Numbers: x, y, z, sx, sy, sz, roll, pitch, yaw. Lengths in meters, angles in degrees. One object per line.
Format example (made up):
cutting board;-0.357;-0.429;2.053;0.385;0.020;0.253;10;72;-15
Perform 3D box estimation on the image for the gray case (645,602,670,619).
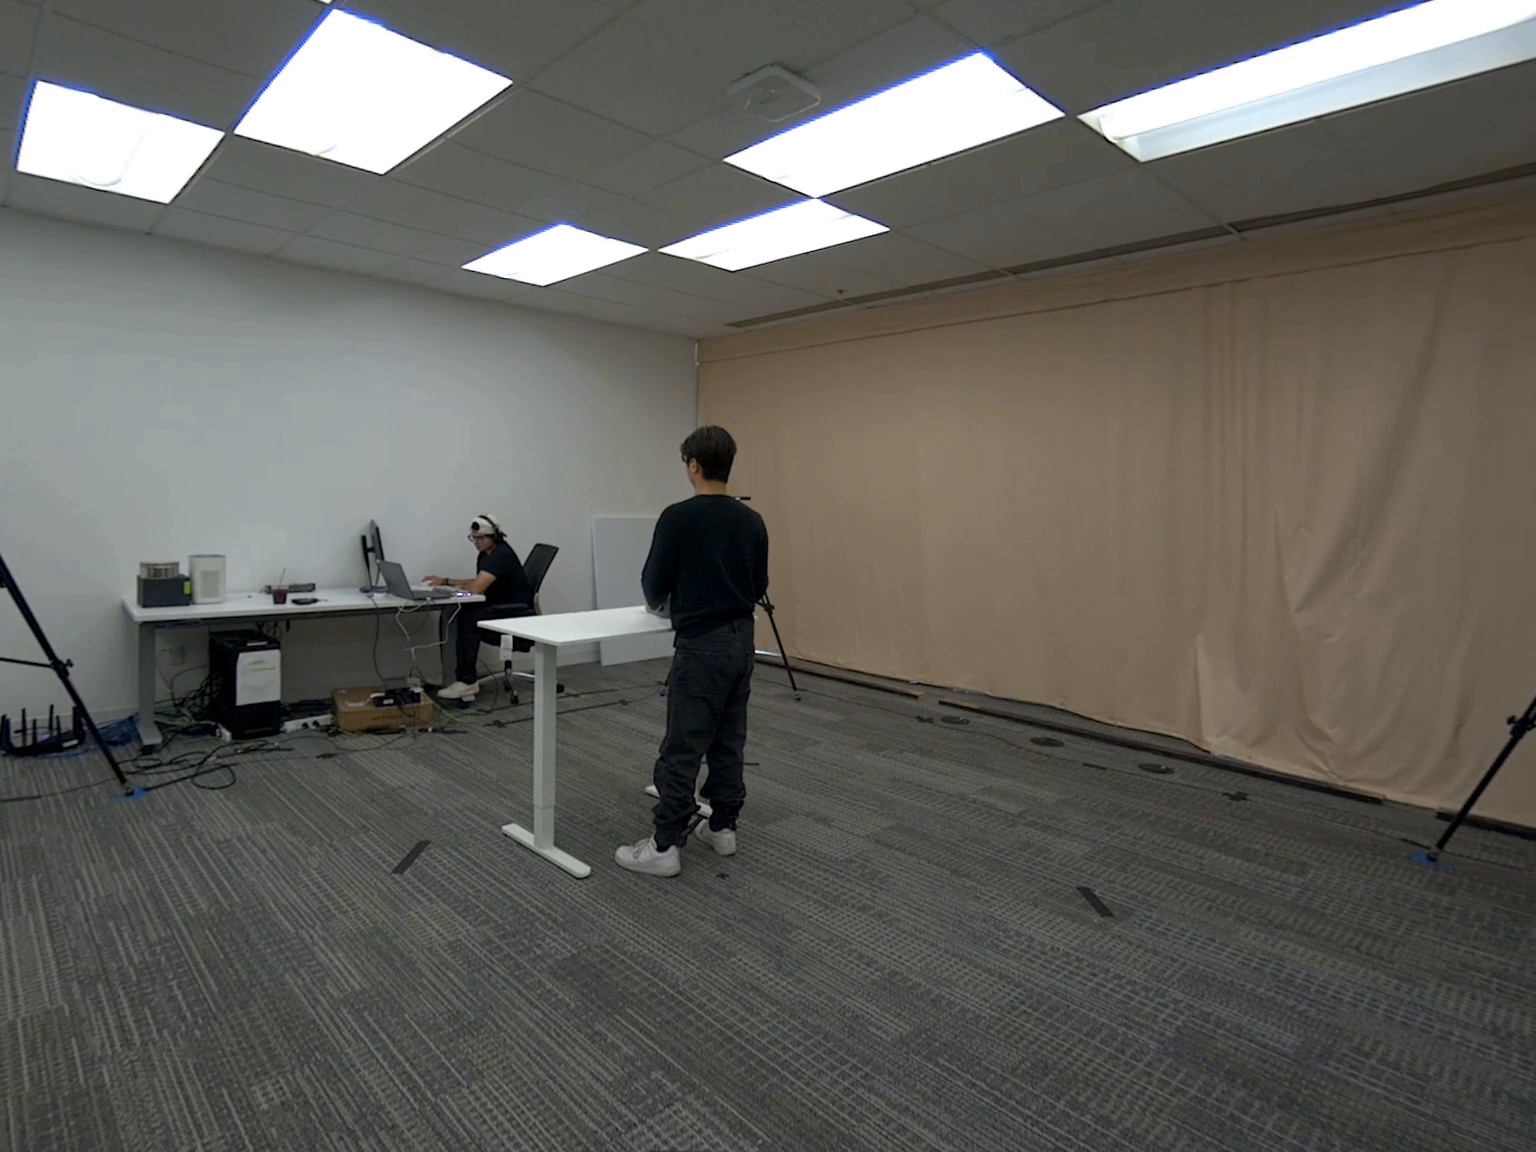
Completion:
gray case;-0.389;0.116;3.676;0.252;0.104;0.267;-1;6;-31
